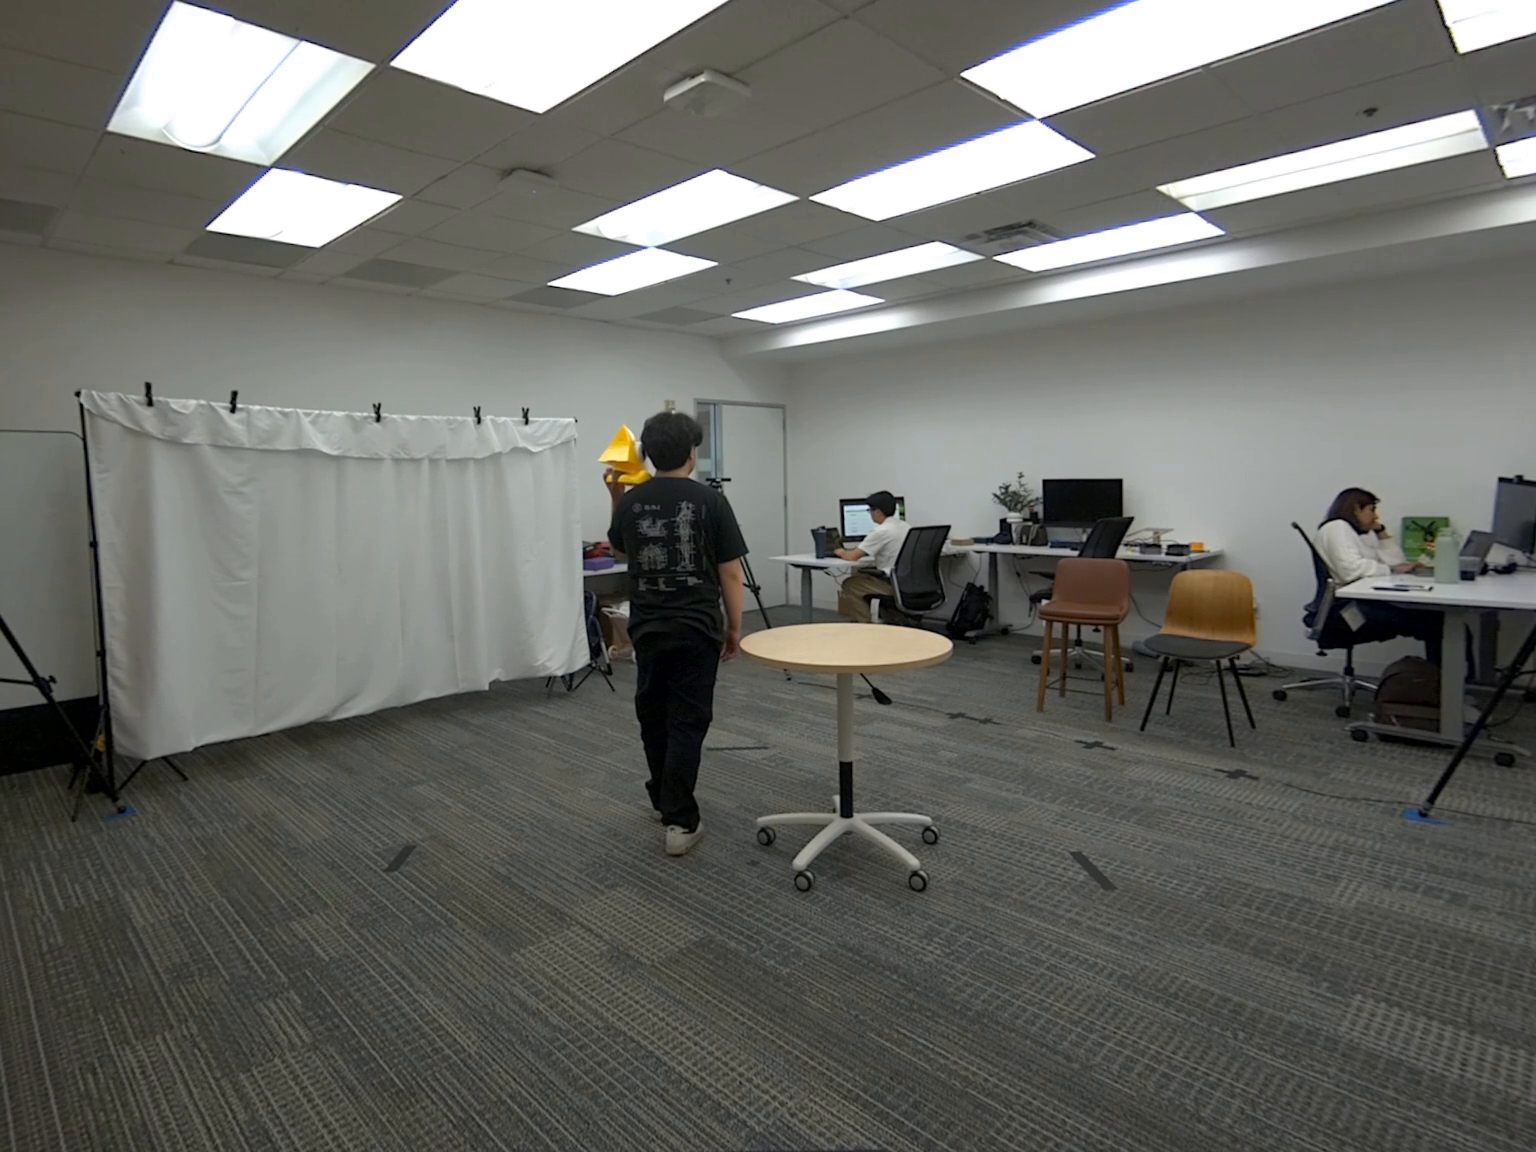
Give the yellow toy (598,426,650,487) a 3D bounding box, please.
[{"bbox_3d":[-0.540,-0.485,3.417,0.187,0.231,0.211,6,0,-43],"label":"yellow toy"}]
